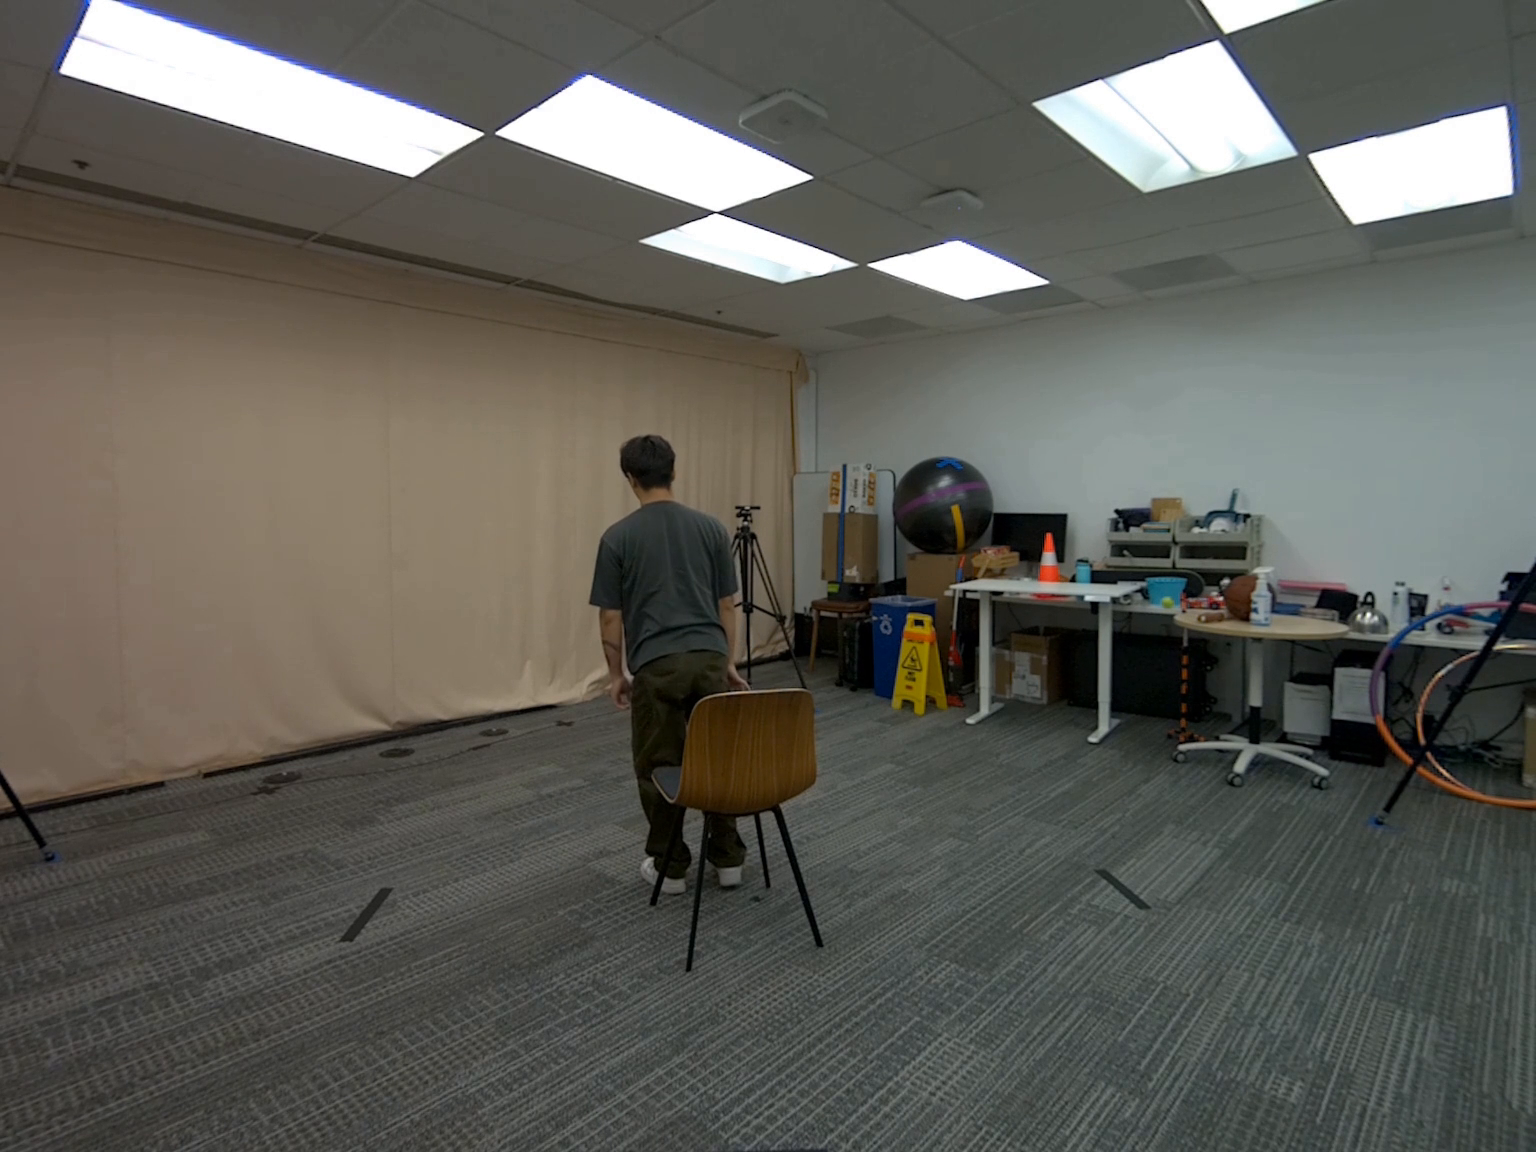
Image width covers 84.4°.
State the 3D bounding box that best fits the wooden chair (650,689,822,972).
[{"bbox_3d":[-0.117,0.737,2.772,0.469,0.873,0.536,-2,7,-20],"label":"wooden chair"}]
